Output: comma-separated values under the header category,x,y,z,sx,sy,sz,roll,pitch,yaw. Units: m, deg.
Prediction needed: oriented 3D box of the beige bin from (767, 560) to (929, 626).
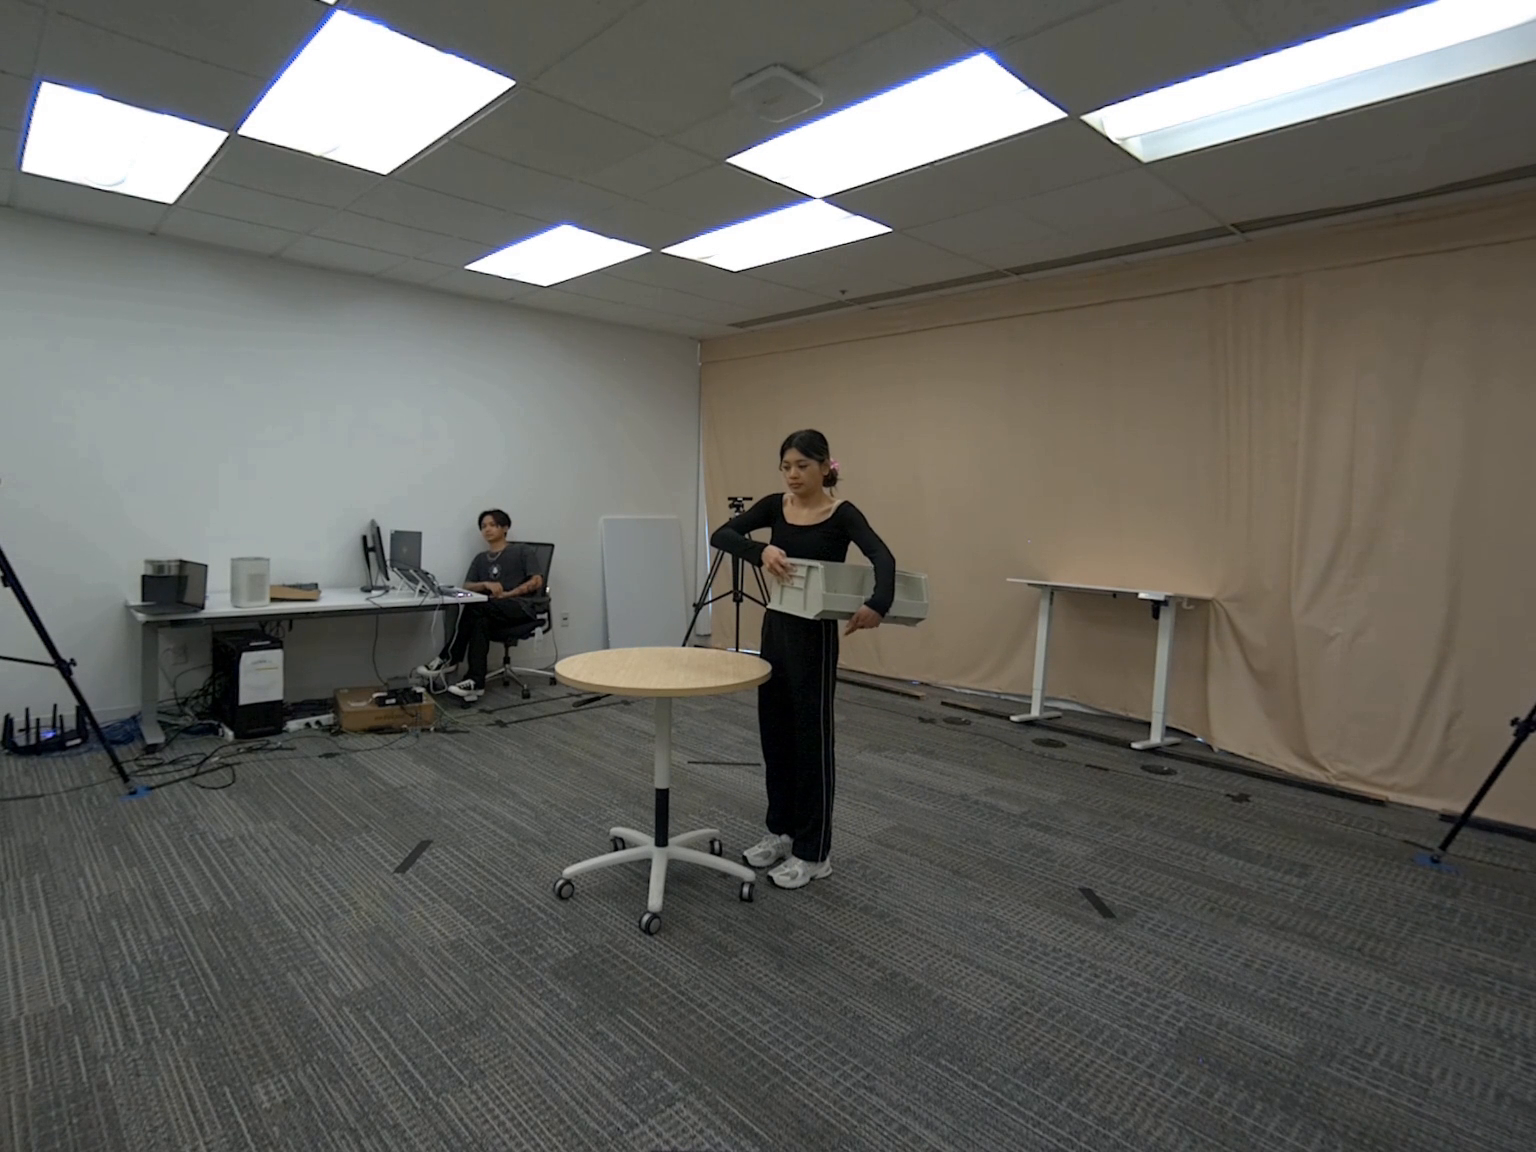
category,x,y,z,sx,sy,sz,roll,pitch,yaw
beige bin,0.265,0.056,2.845,0.414,0.189,0.385,4,3,-25
